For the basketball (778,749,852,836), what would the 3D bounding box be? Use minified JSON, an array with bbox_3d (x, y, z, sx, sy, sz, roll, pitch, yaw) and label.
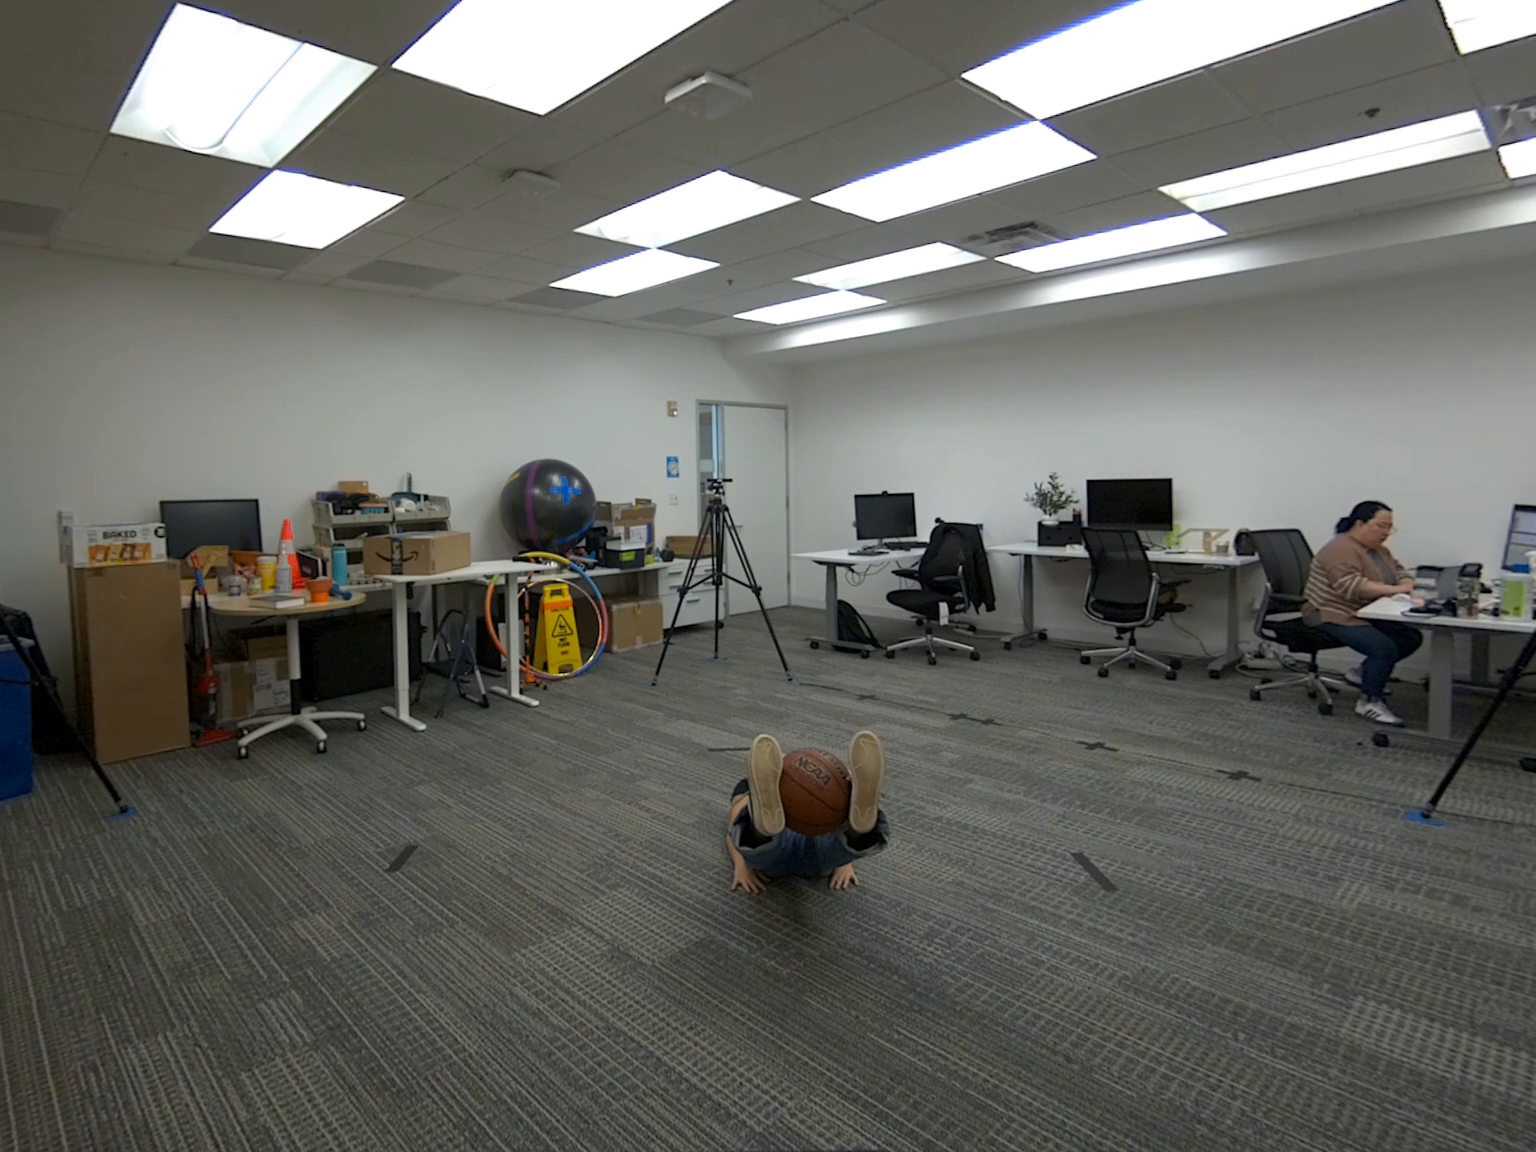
[{"bbox_3d":[0.130,0.612,2.412,0.236,0.235,0.237,-1,5,-2],"label":"basketball"}]
